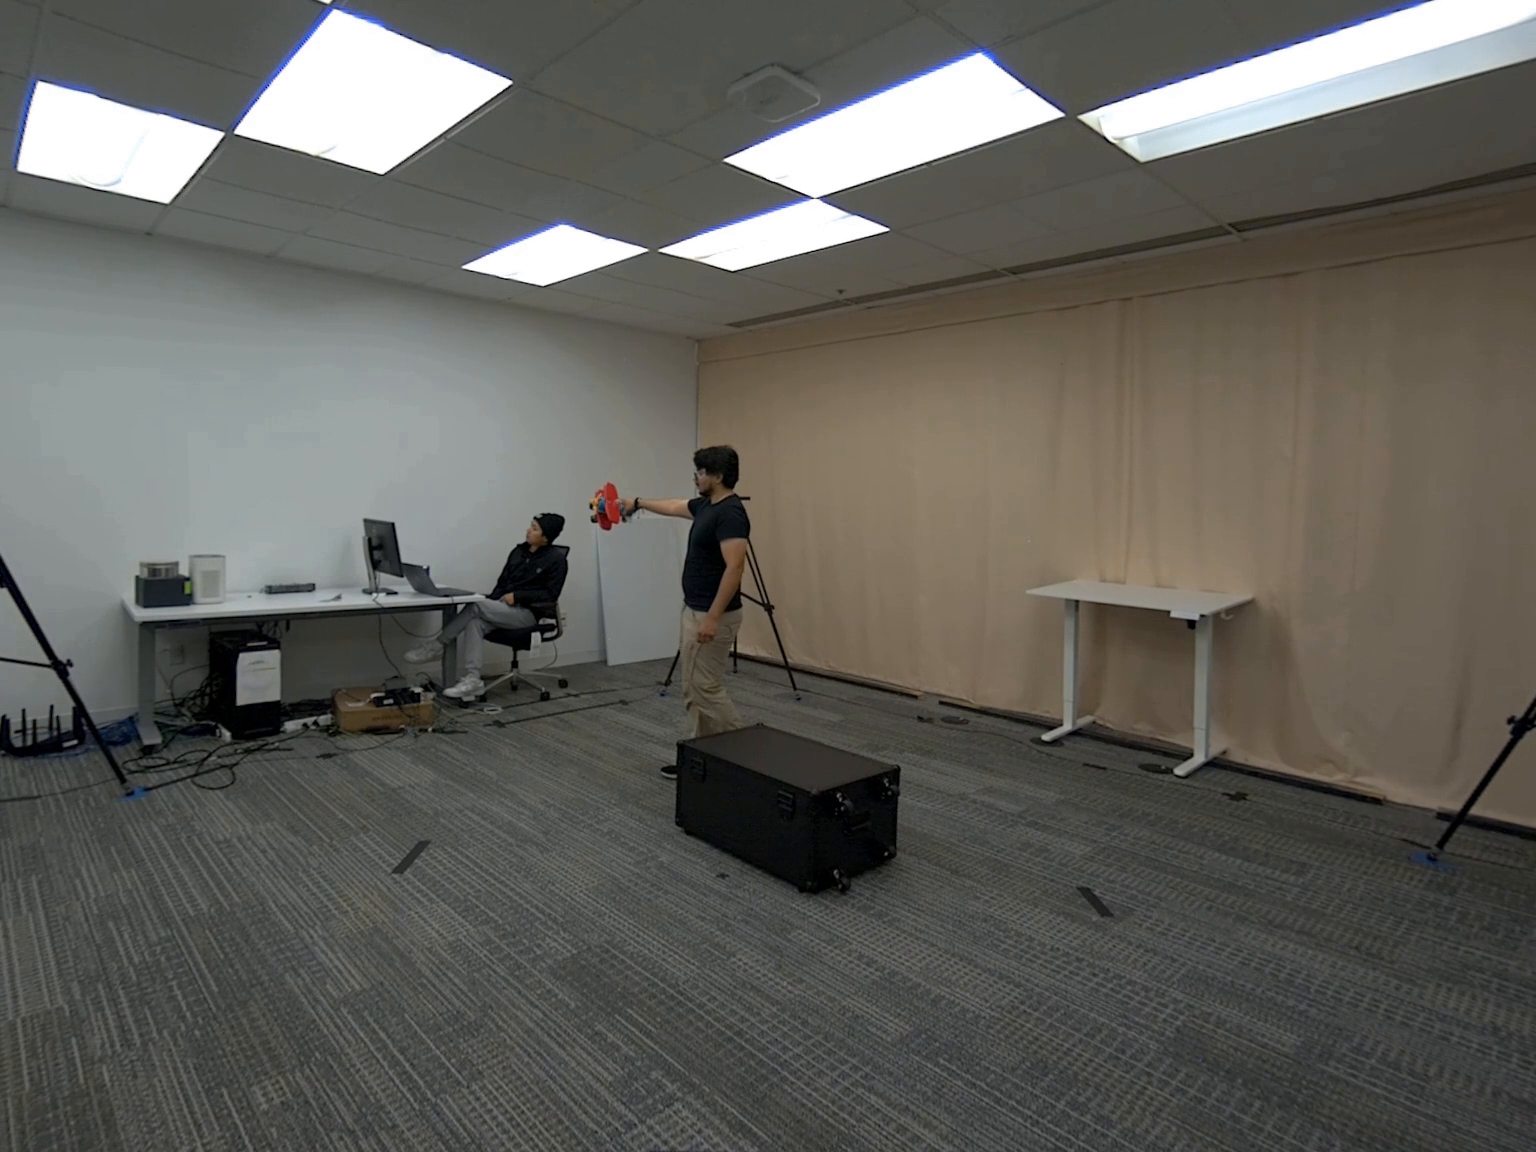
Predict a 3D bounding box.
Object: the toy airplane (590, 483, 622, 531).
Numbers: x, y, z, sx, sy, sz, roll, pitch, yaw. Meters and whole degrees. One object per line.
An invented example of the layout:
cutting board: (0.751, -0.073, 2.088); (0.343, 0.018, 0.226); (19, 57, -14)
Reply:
toy airplane: (-0.854, -0.381, 4.598); (0.256, 0.253, 0.157); (-27, -11, -42)
